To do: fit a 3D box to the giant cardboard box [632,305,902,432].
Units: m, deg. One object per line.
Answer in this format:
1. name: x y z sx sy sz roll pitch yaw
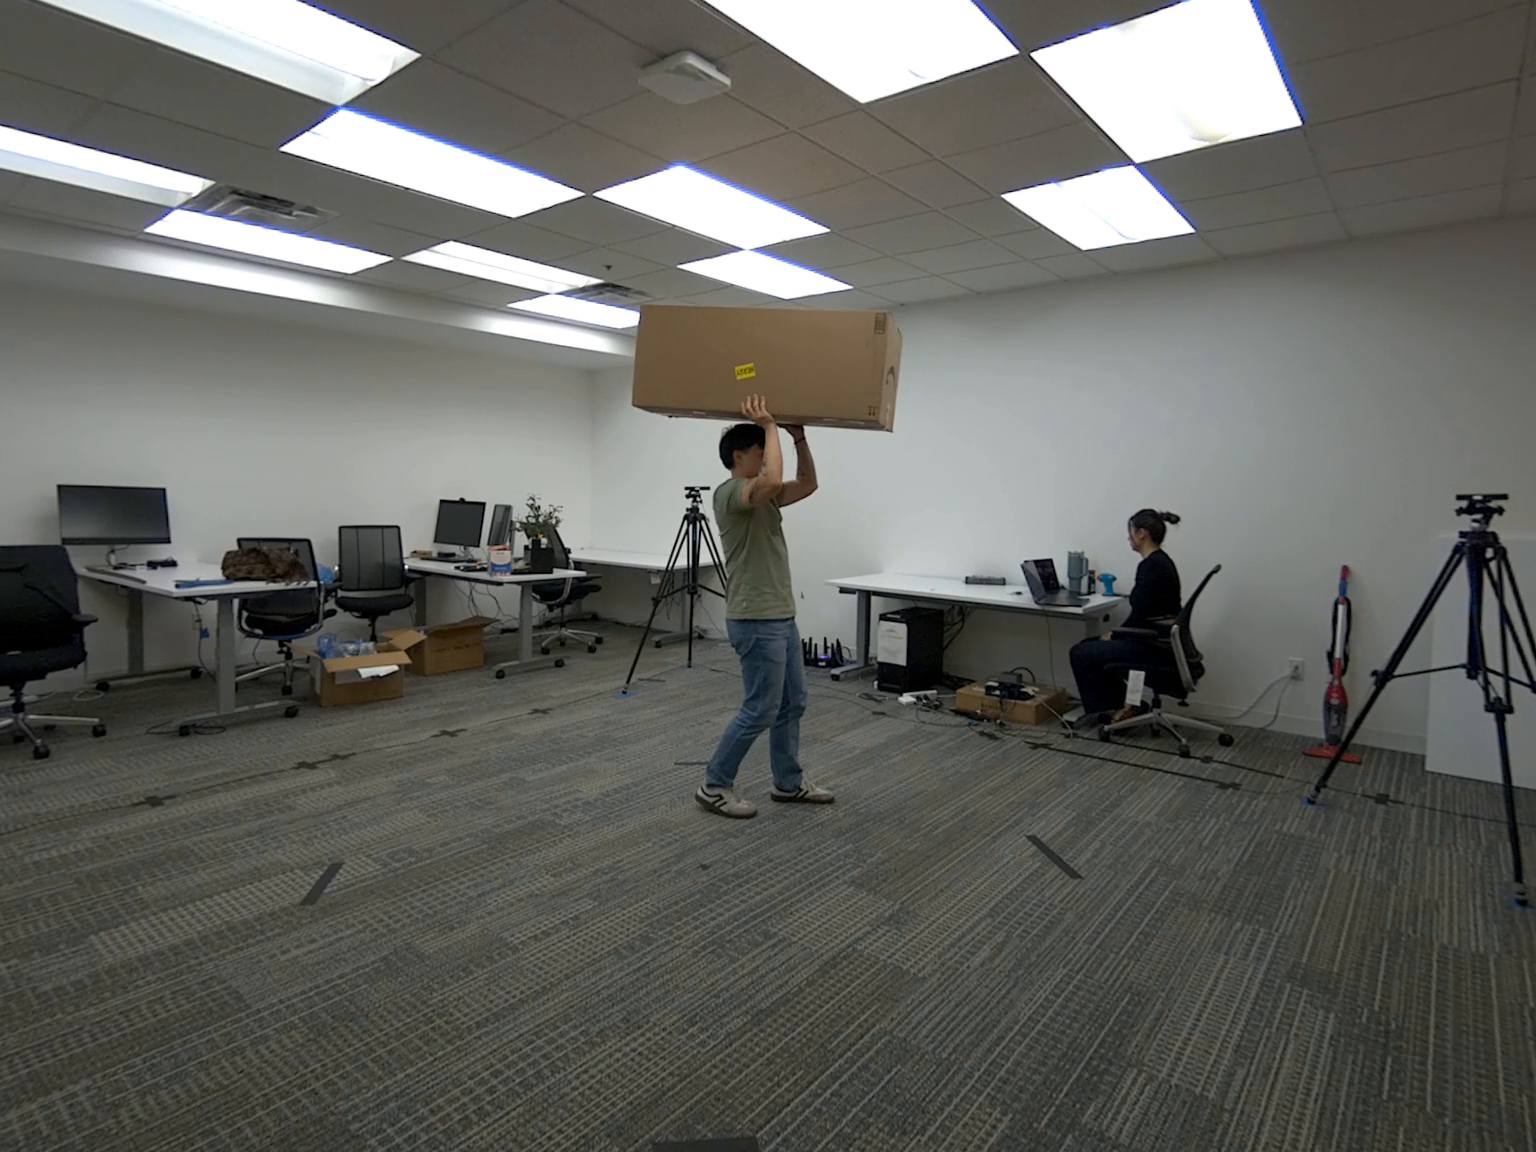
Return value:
1. giant cardboard box: -0.002 -0.886 3.645 1.046 0.424 0.569 7 6 16
